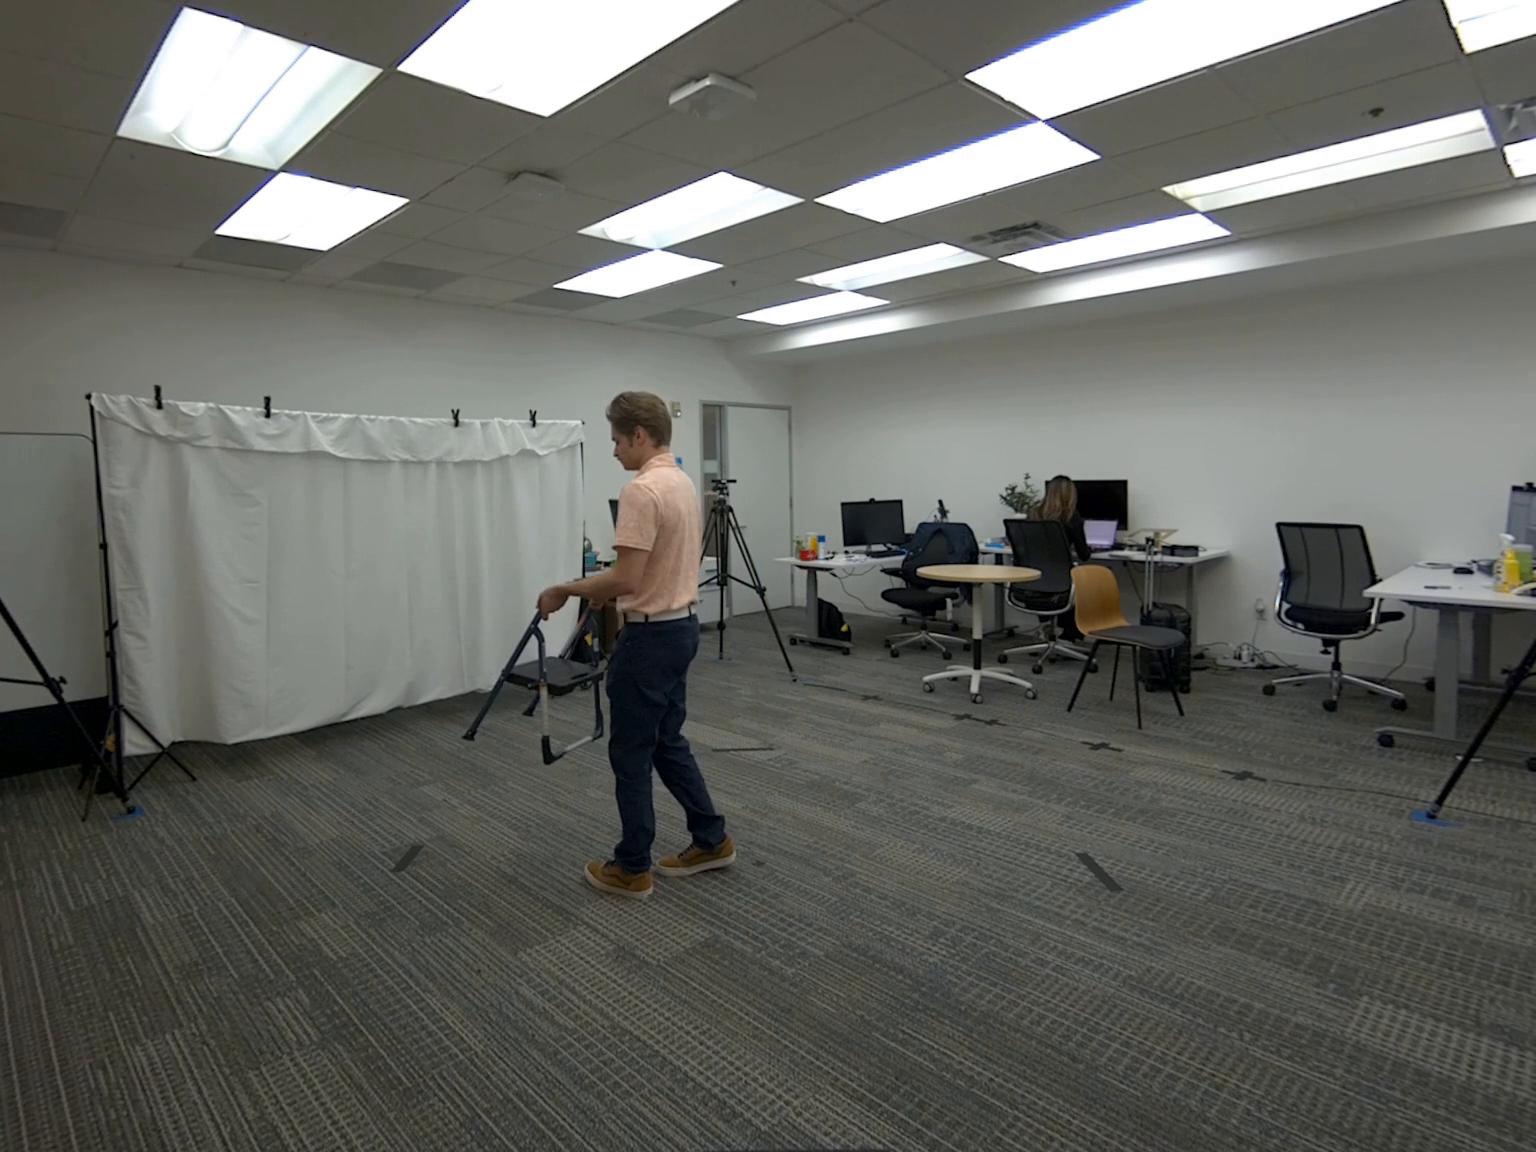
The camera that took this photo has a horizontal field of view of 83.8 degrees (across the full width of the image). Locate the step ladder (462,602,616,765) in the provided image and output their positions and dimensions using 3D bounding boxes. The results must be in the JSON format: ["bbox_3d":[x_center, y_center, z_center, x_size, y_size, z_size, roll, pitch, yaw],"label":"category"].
[{"bbox_3d":[-0.768,0.296,3.059,0.355,0.604,0.424,12,4,14],"label":"step ladder"}]
